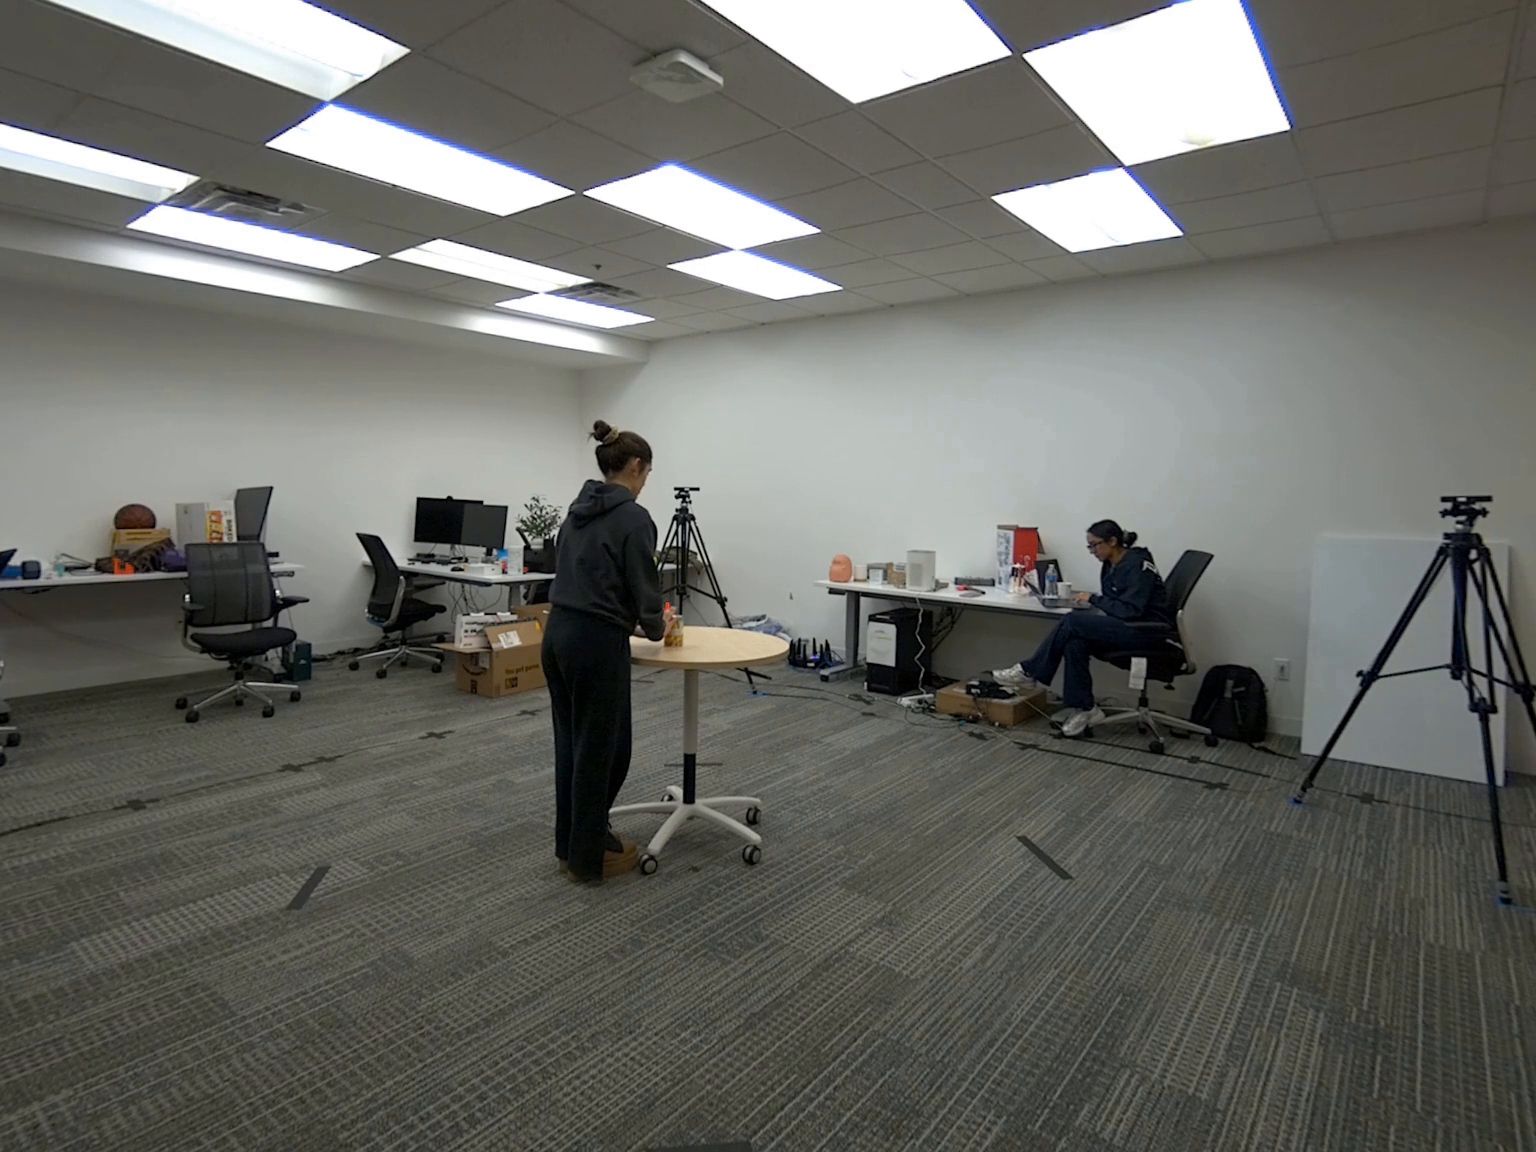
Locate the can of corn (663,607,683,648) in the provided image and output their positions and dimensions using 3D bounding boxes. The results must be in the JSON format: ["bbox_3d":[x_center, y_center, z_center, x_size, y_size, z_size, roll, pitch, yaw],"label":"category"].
[{"bbox_3d":[-0.367,0.213,3.273,0.074,0.111,0.074,-2,0,-2],"label":"can of corn"}]
